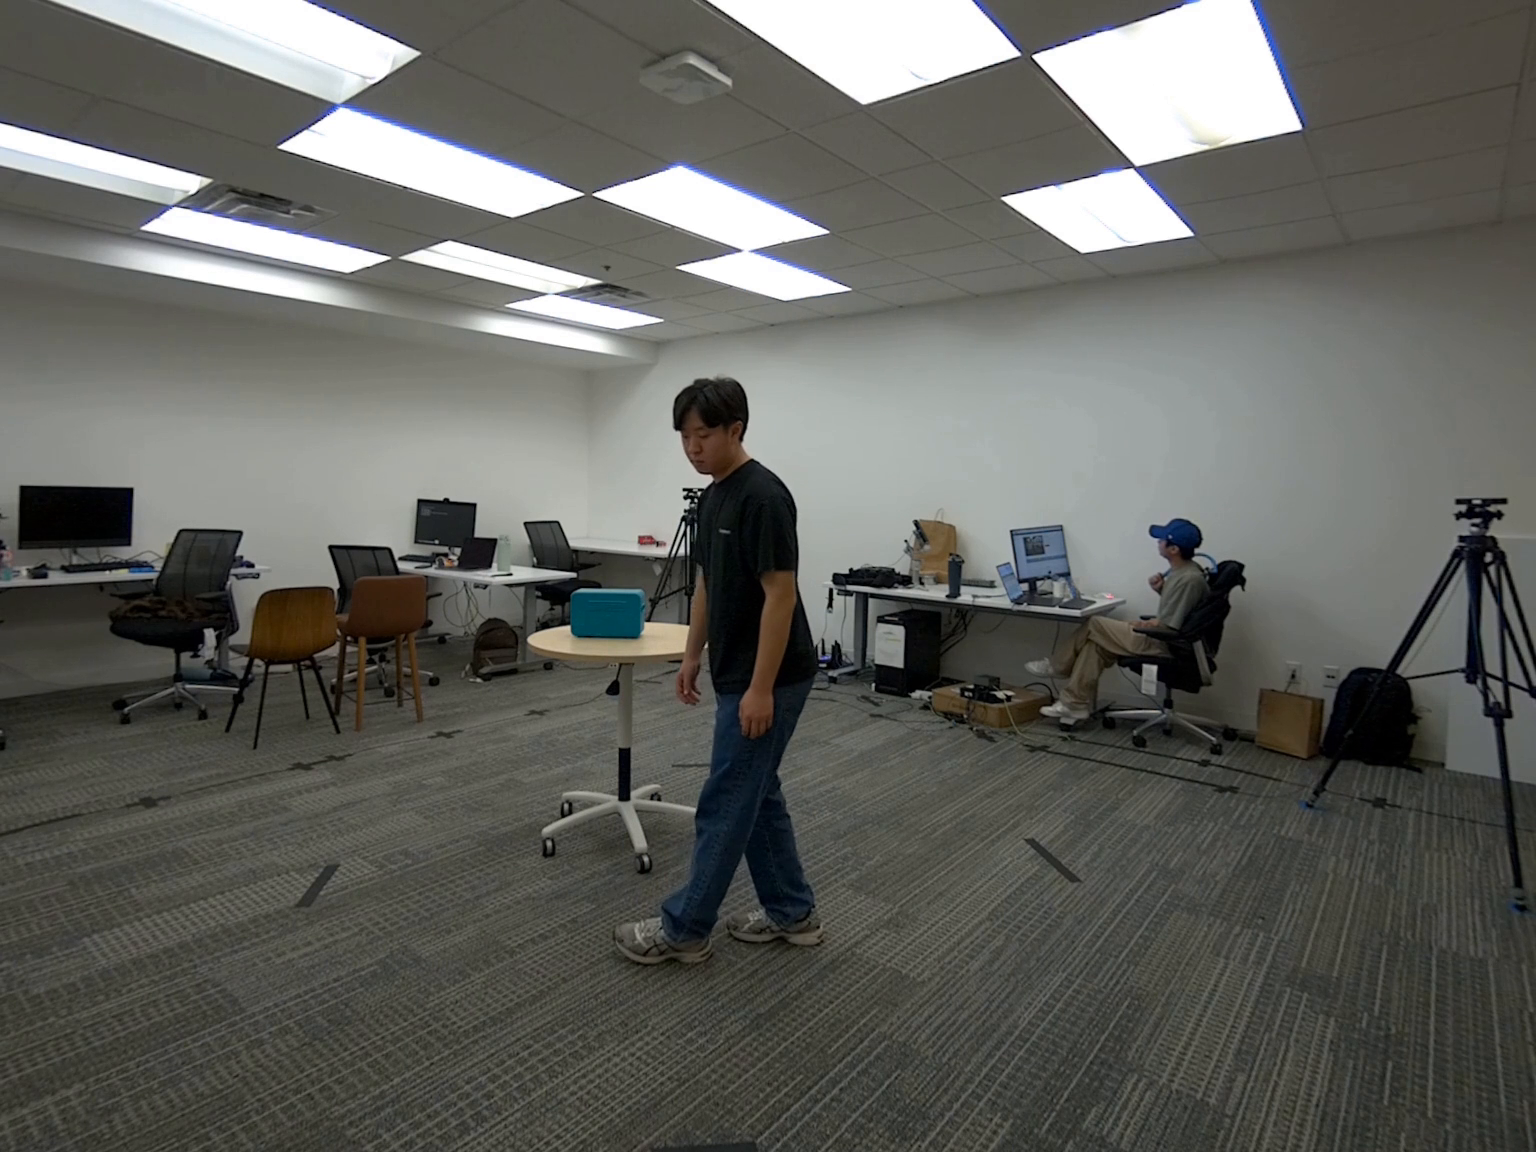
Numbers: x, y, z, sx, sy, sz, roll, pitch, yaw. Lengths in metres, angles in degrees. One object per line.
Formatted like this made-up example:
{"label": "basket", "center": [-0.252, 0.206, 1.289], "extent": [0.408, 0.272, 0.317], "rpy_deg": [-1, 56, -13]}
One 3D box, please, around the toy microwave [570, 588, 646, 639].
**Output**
{"label": "toy microwave", "center": [-0.655, 0.139, 3.412], "extent": [0.287, 0.183, 0.152], "rpy_deg": [2, 5, 2]}
